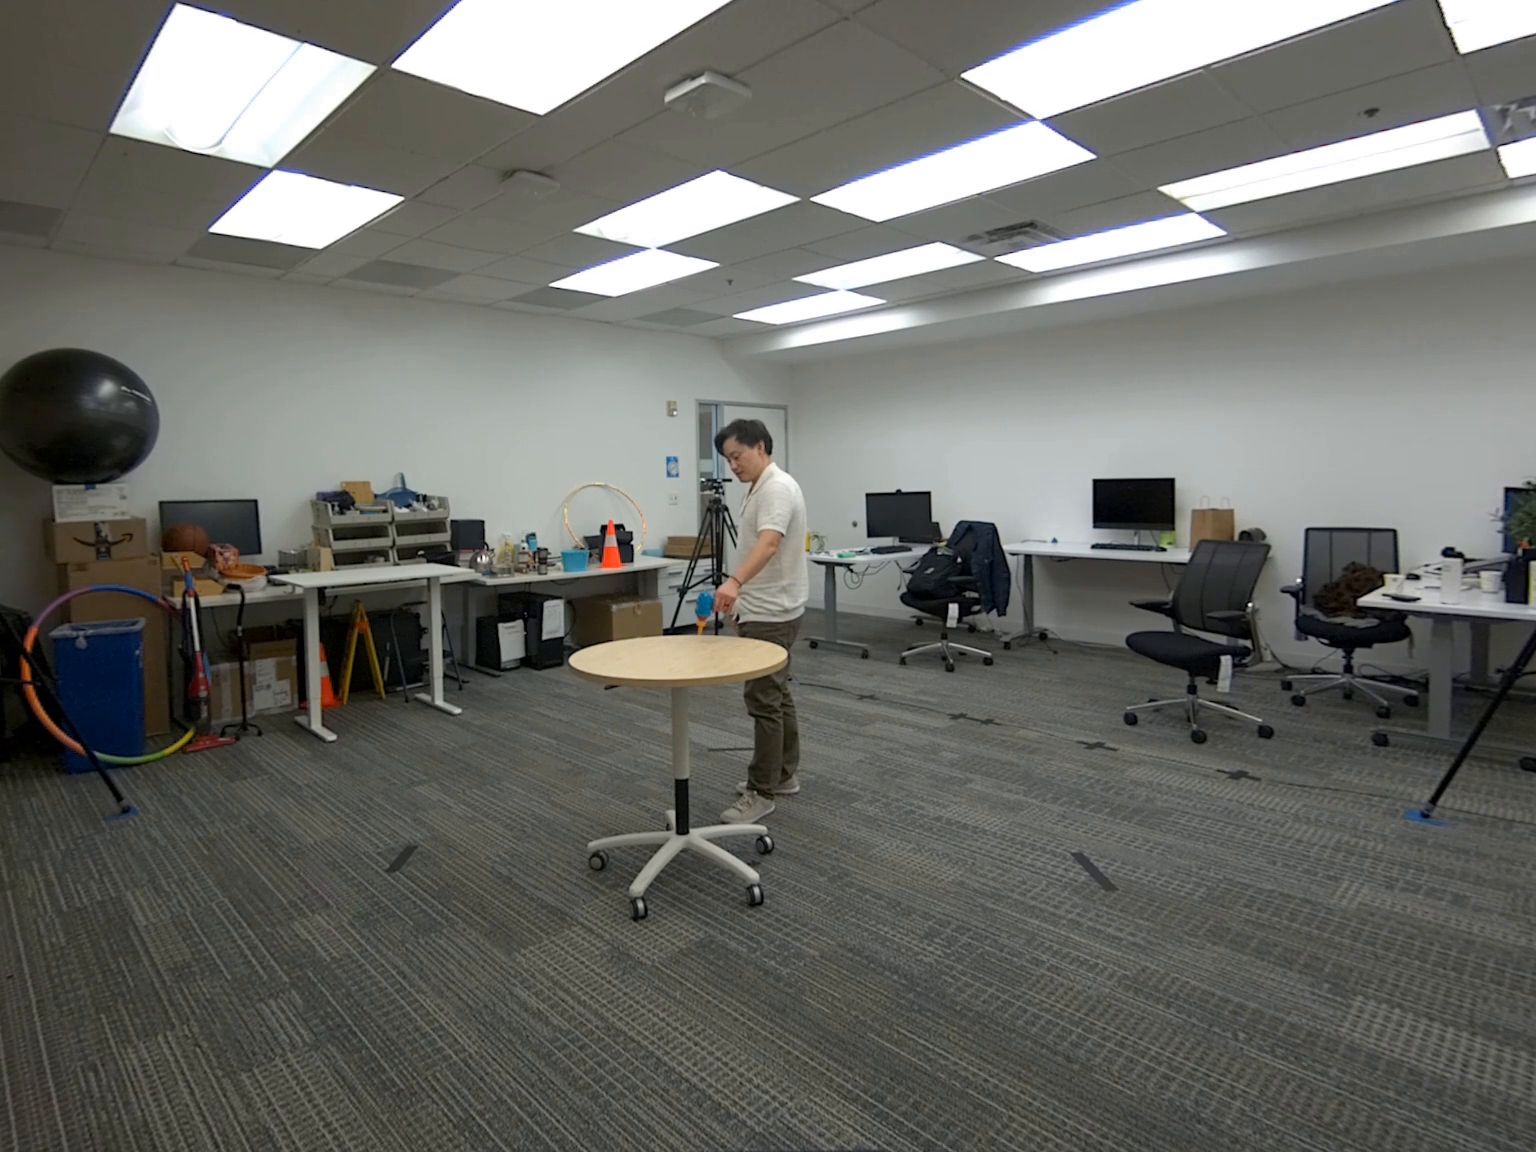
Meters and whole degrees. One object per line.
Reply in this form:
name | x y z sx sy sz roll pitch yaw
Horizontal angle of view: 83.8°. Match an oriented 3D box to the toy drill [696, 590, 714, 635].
toy drill | -0.205 0.139 3.228 0.142 0.170 0.063 7 0 -33
